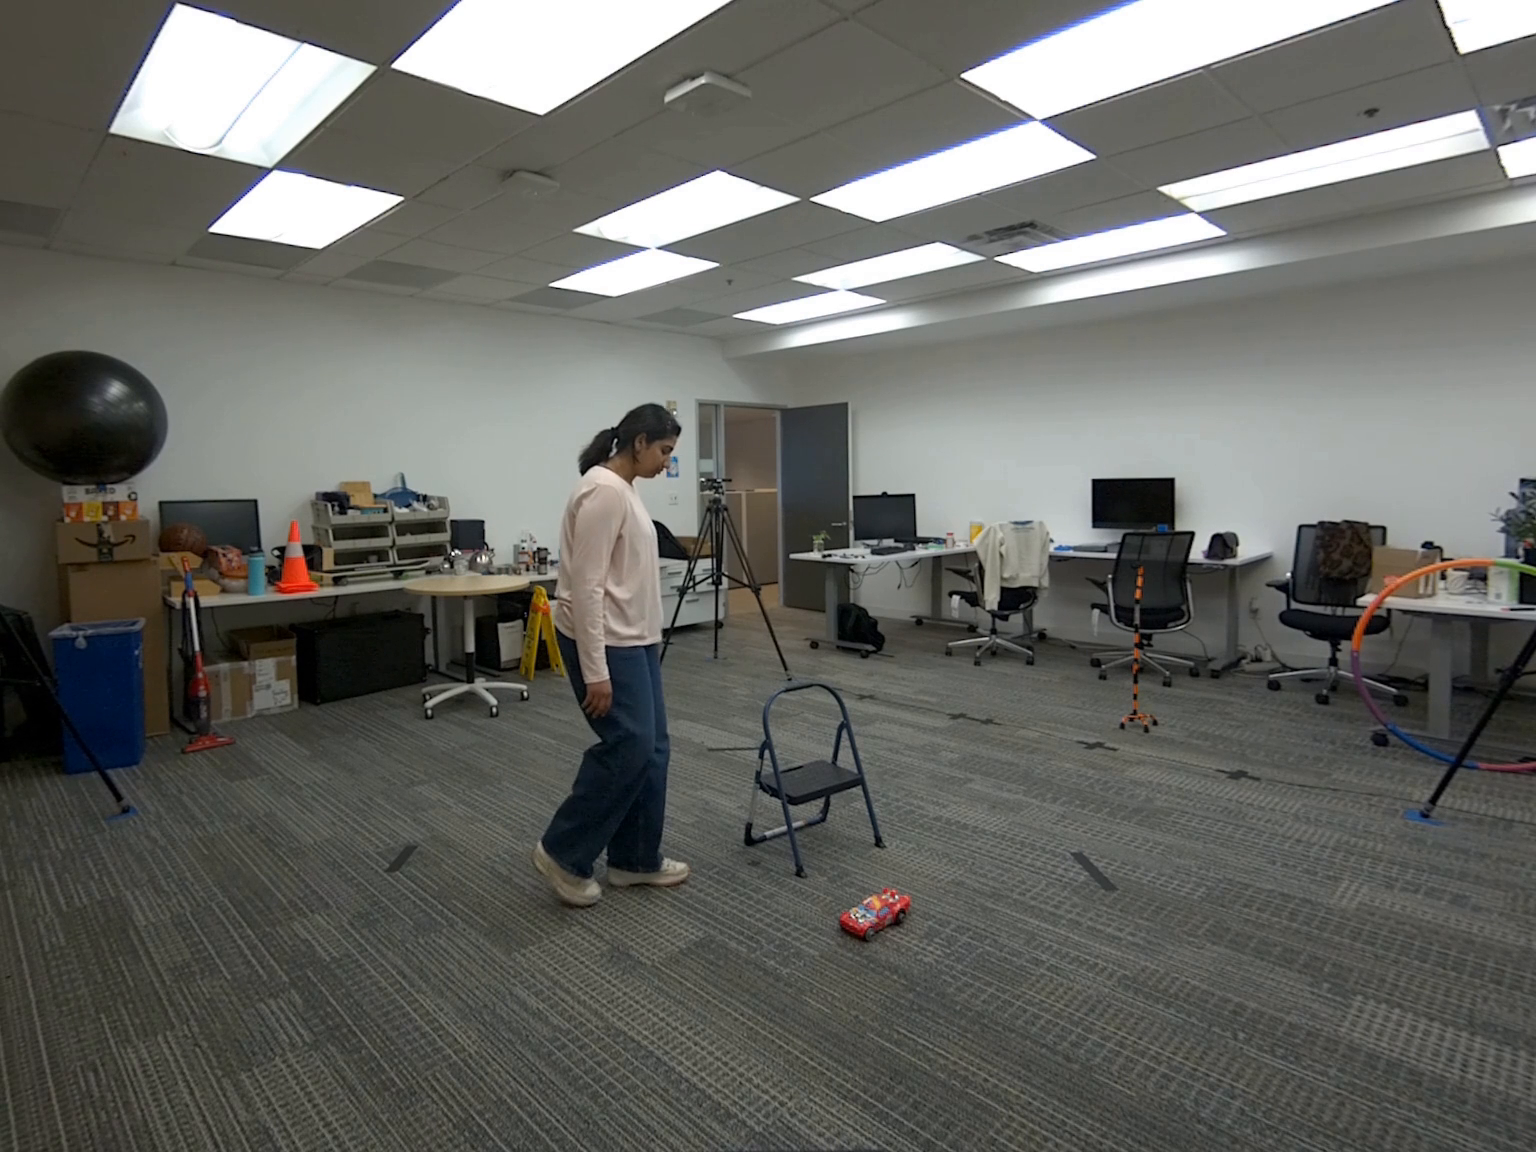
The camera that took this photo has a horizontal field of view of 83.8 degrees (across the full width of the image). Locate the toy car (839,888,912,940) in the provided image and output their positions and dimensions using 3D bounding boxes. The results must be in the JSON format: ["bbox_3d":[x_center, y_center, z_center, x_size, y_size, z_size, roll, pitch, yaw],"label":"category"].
[{"bbox_3d":[0.338,1.050,2.666,0.250,0.082,0.134,-20,18,-38],"label":"toy car"}]
